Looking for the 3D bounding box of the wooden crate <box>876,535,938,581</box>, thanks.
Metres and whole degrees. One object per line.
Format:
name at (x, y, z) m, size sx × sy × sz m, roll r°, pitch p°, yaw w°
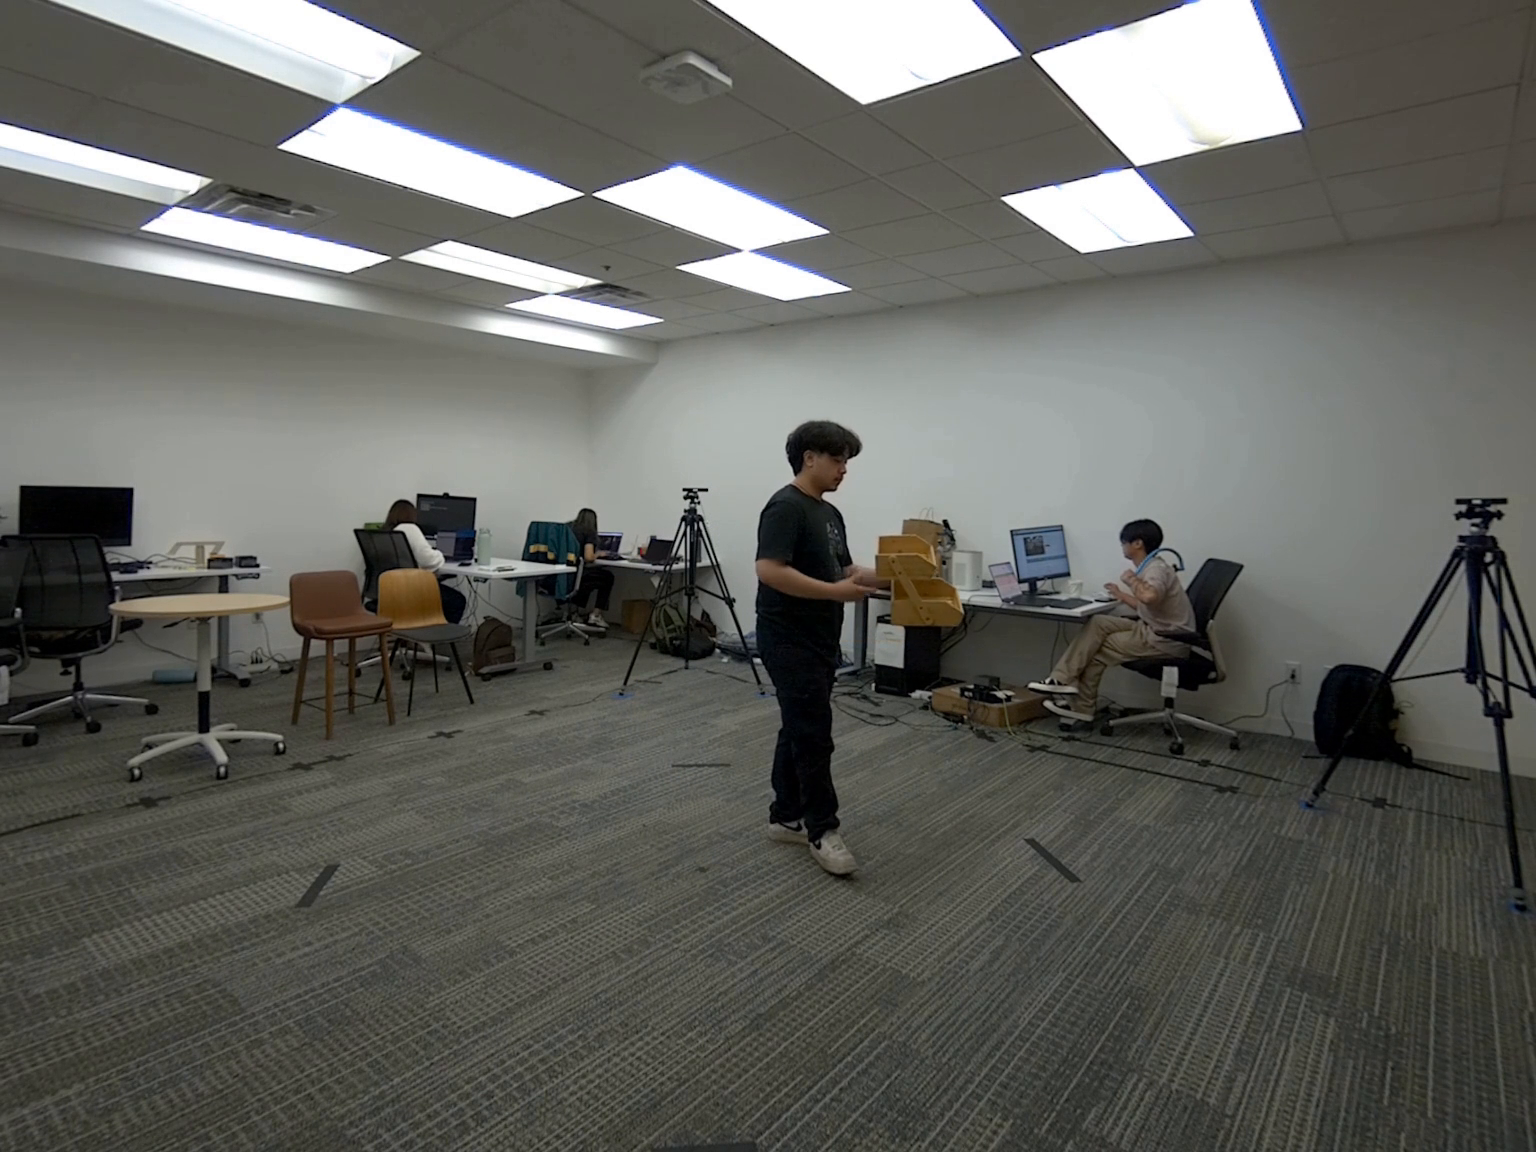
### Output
wooden crate at (0.562, 0.000, 3.109) m, size 0.305 × 0.270 × 0.325 m, roll -3°, pitch 13°, yaw 9°
